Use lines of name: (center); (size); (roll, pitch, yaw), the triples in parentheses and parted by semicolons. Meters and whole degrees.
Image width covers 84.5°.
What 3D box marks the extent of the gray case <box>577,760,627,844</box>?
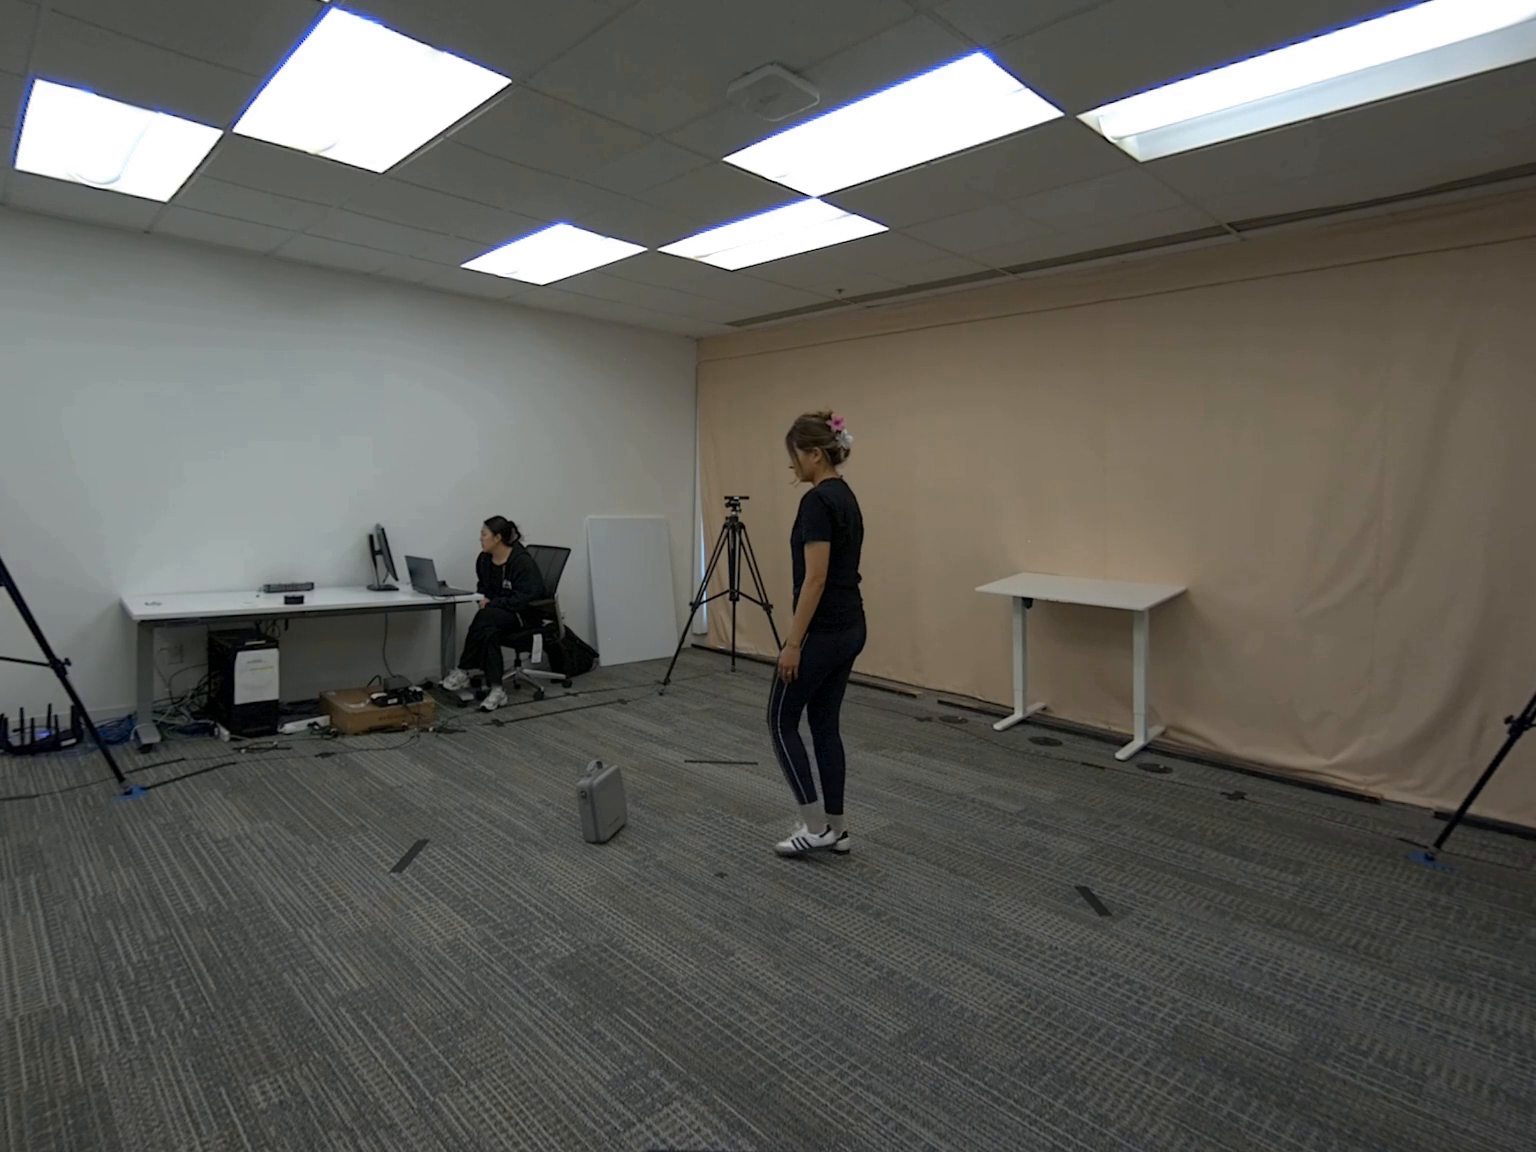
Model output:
gray case: (-0.685, 0.923, 3.456); (0.105, 0.261, 0.254); (-8, 0, 15)
